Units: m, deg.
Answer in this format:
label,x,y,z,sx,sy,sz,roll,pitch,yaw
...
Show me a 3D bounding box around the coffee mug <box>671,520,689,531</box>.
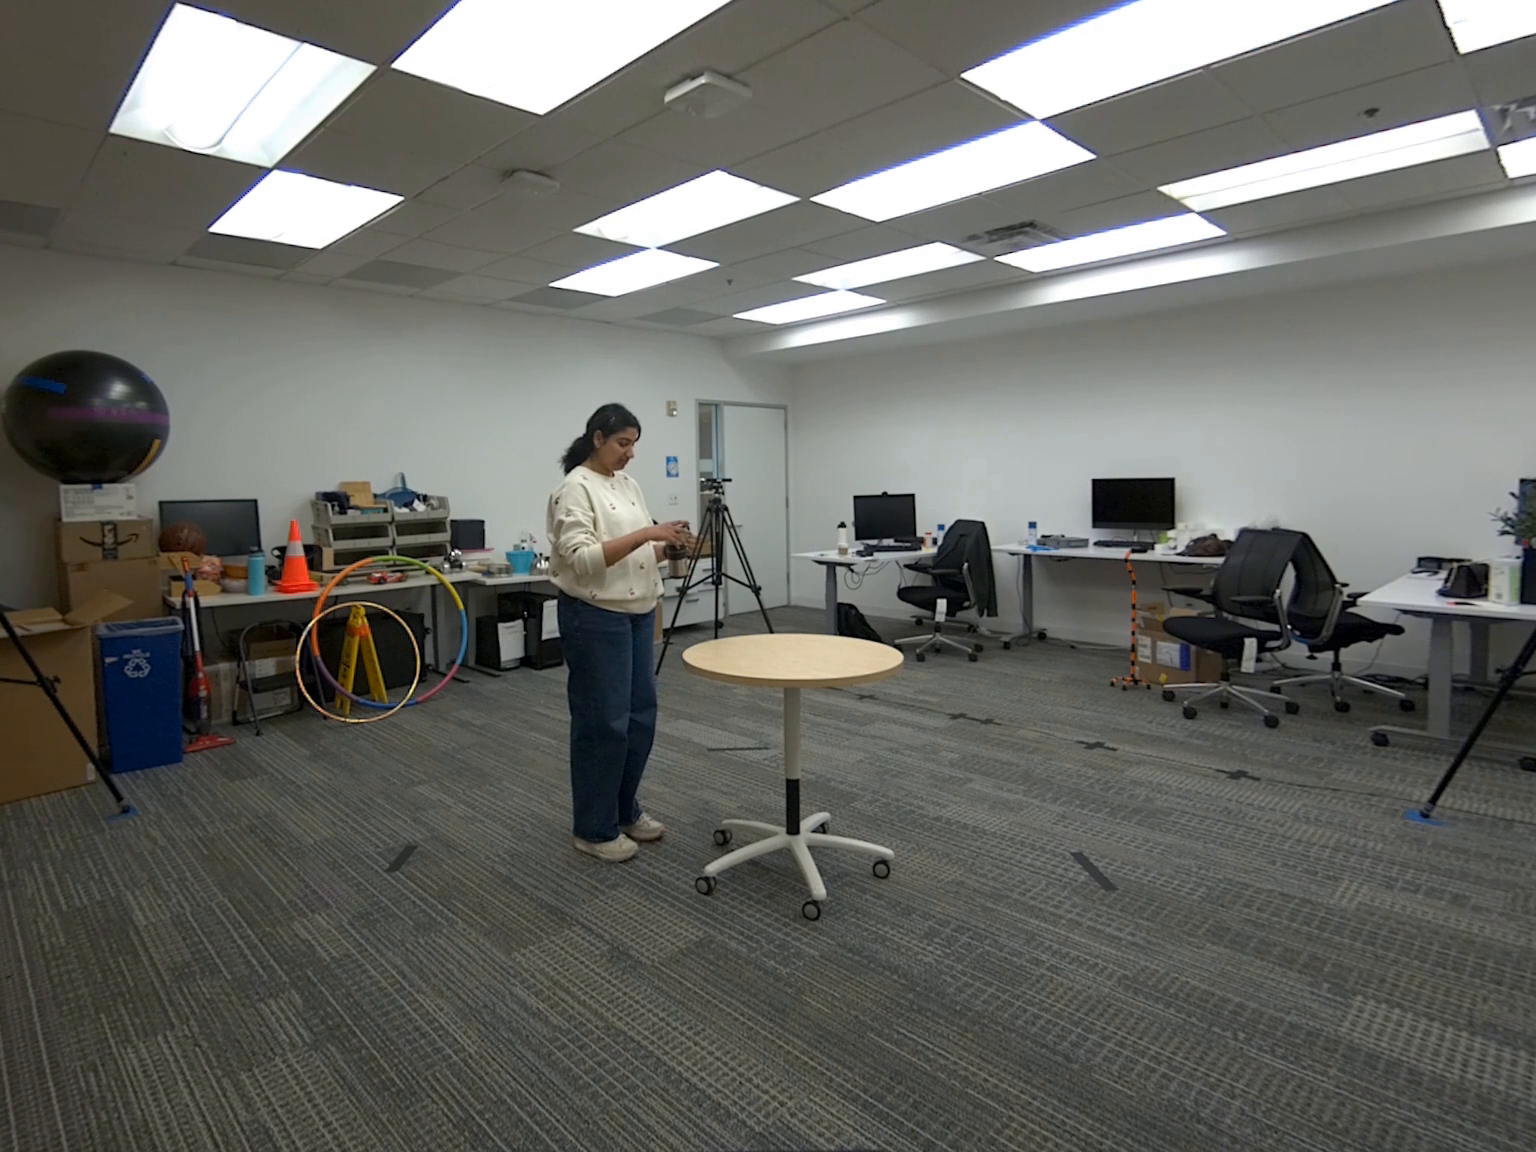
label,x,y,z,sx,sy,sz,roll,pitch,yaw
coffee mug,-0.318,-0.095,3.146,0.120,0.201,0.090,-11,12,-24
